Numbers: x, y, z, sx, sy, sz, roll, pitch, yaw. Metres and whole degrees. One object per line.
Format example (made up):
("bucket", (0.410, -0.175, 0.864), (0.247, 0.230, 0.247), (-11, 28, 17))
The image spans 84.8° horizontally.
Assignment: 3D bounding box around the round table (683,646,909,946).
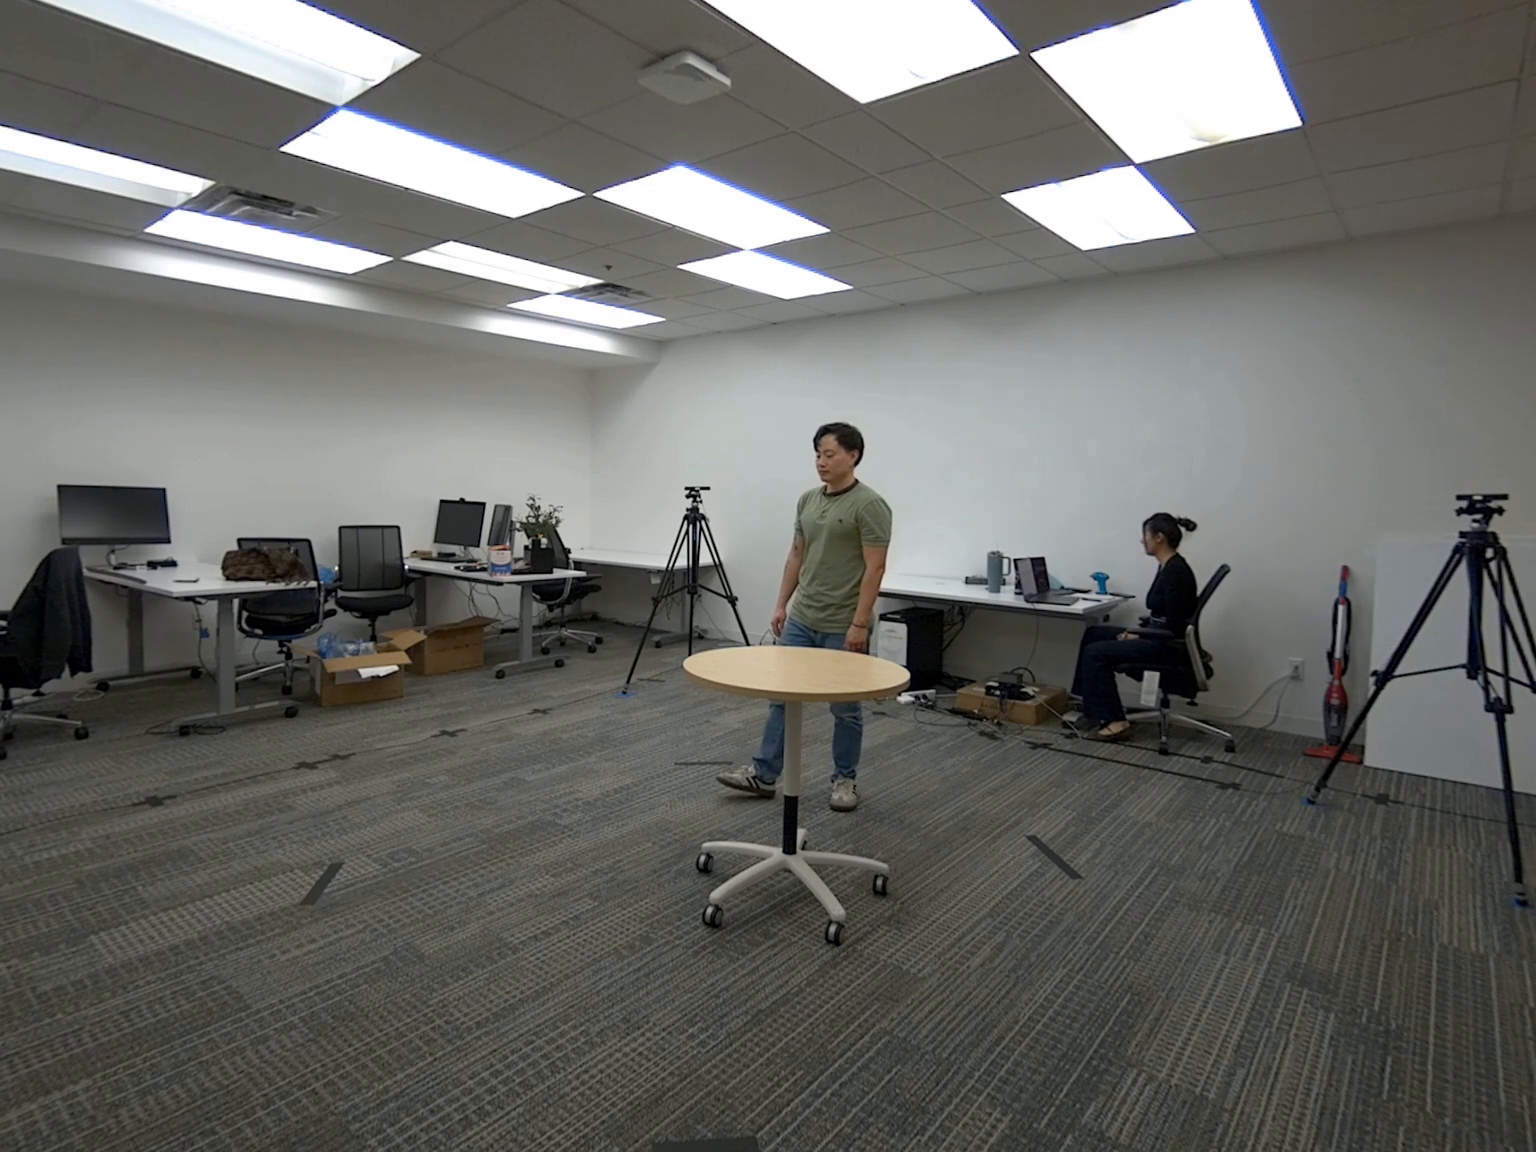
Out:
("round table", (0.066, 0.699, 2.914), (0.763, 0.791, 0.768), (2, 4, -2))
